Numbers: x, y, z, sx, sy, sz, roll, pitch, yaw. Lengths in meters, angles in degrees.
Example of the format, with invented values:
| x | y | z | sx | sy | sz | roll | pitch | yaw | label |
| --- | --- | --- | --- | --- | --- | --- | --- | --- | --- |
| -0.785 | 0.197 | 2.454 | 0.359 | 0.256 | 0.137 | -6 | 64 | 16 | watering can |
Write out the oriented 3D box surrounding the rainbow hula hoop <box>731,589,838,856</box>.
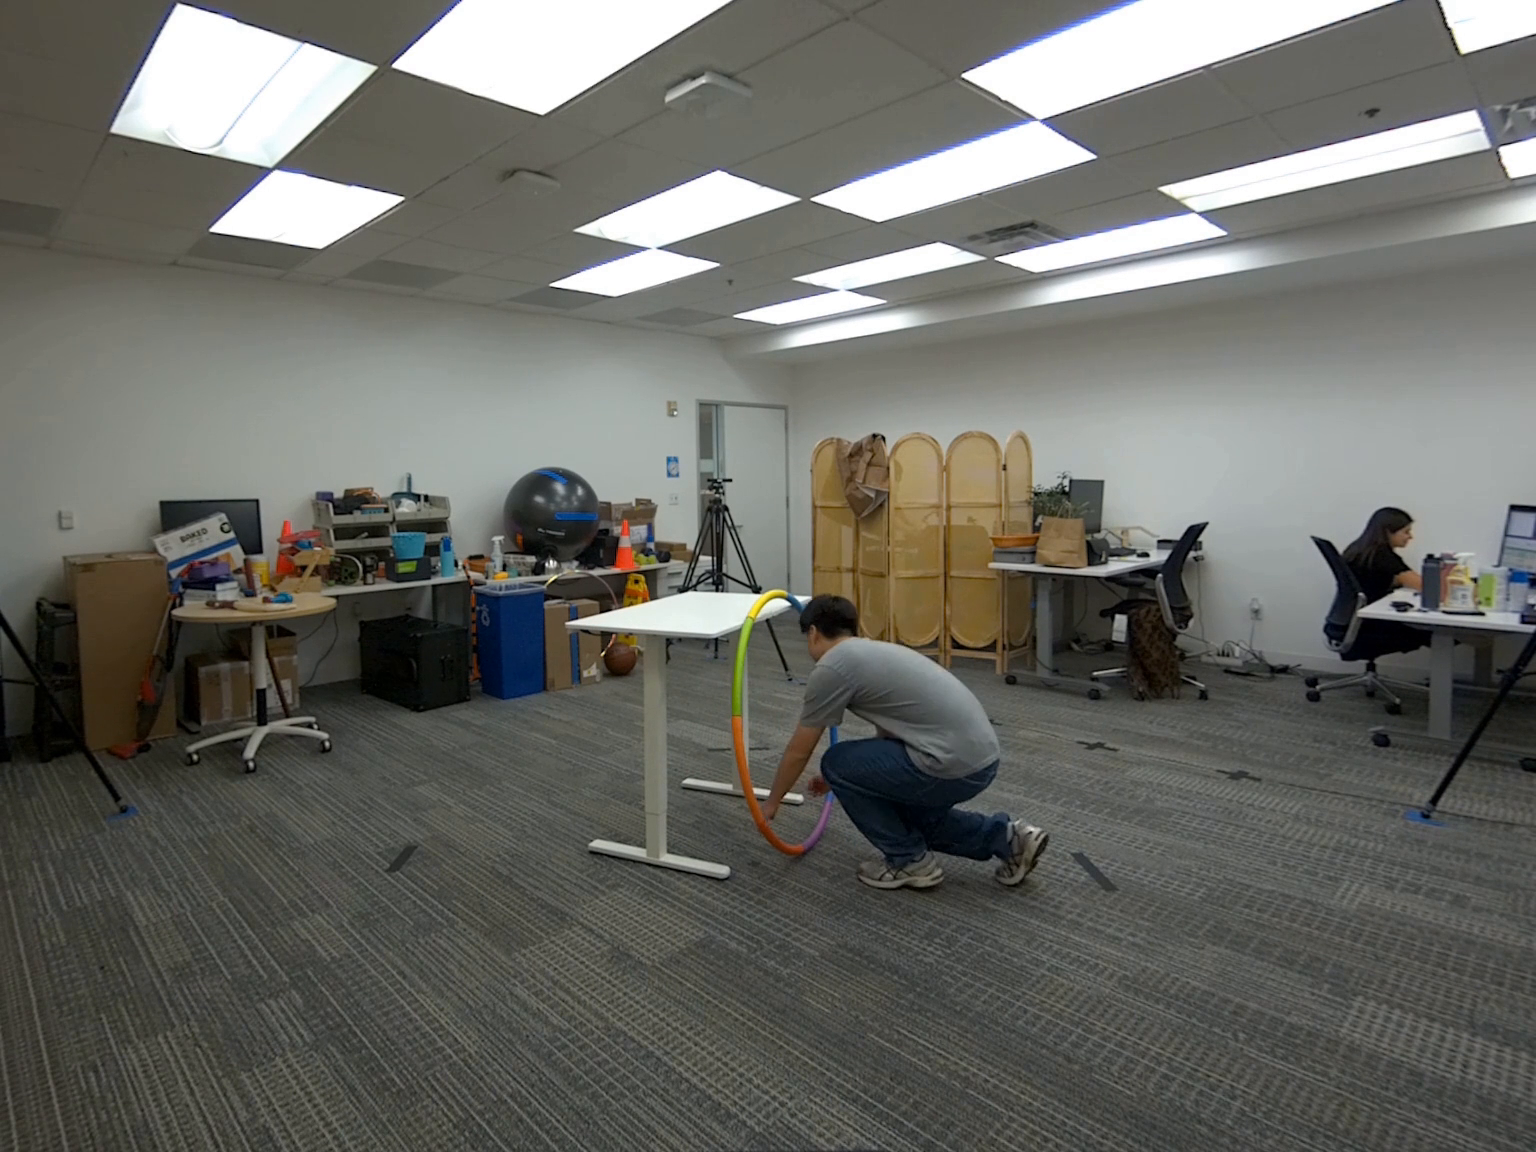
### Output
| x | y | z | sx | sy | sz | roll | pitch | yaw | label |
| --- | --- | --- | --- | --- | --- | --- | --- | --- | --- |
| 0.095 | 0.542 | 3.262 | 0.036 | 0.979 | 0.962 | -11 | 1 | 22 | rainbow hula hoop |
